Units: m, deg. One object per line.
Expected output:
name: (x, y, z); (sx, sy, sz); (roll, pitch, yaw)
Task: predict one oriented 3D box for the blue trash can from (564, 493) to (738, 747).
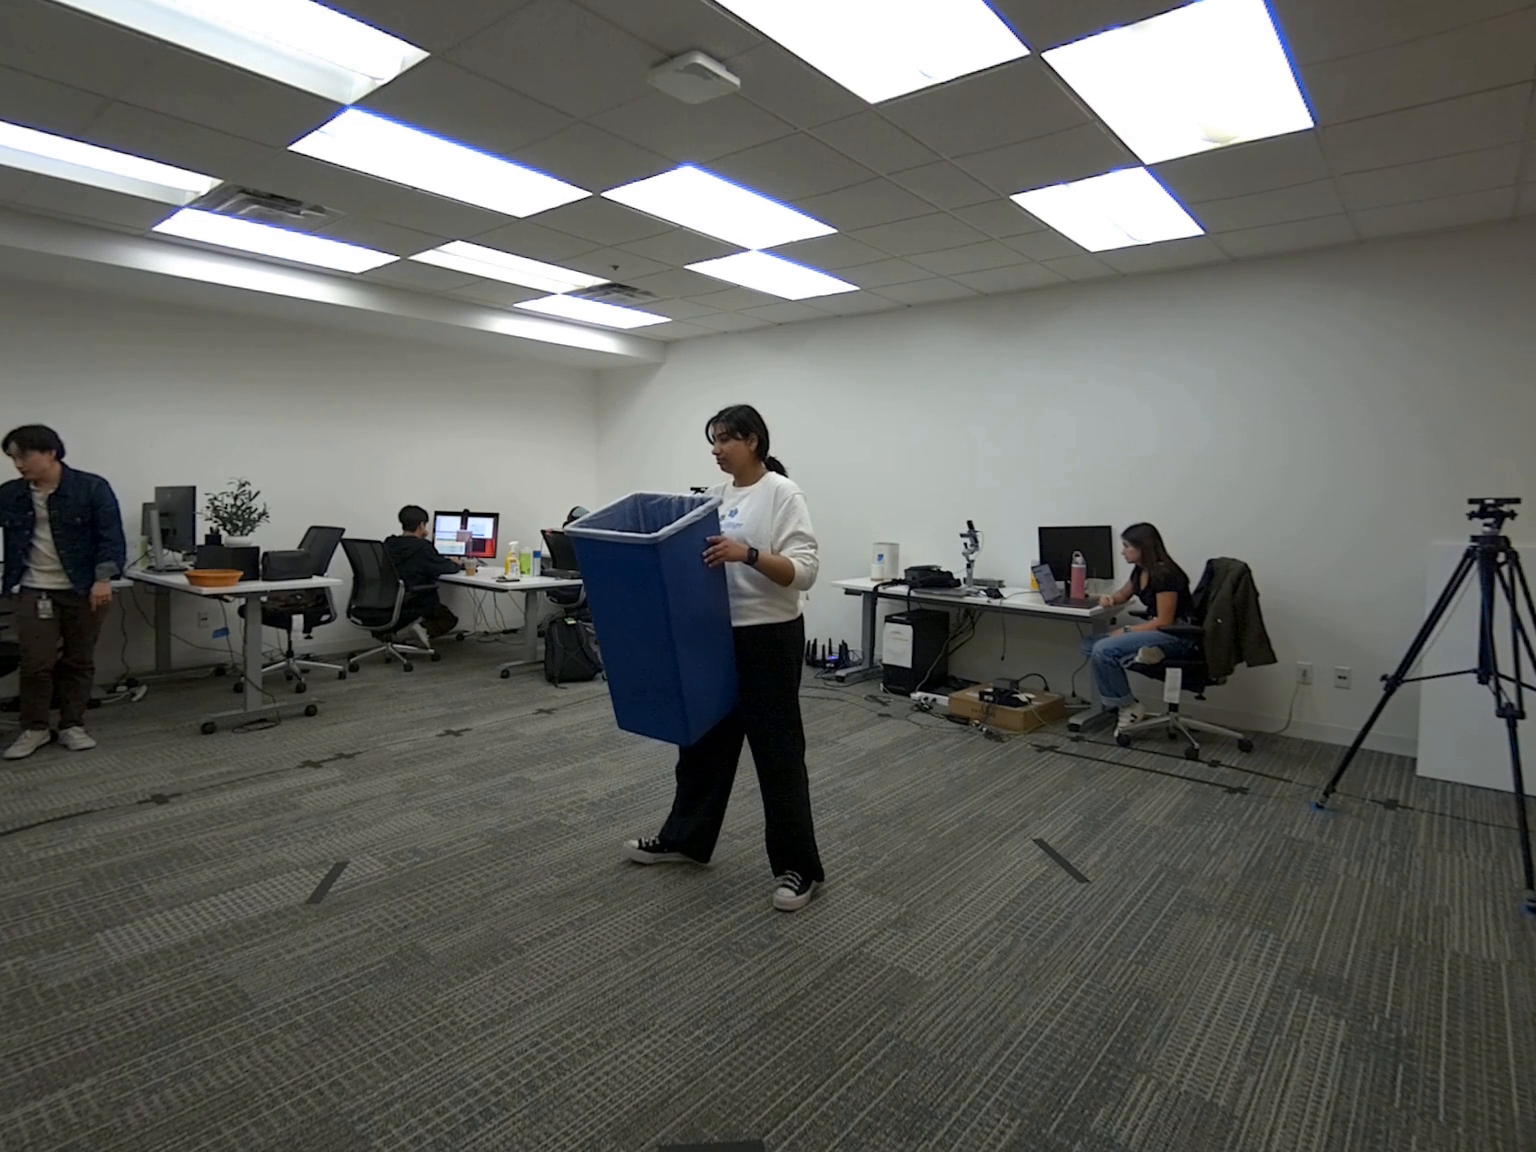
blue trash can: (-0.350, 0.129, 2.695); (0.389, 0.700, 0.370); (4, 22, 31)
